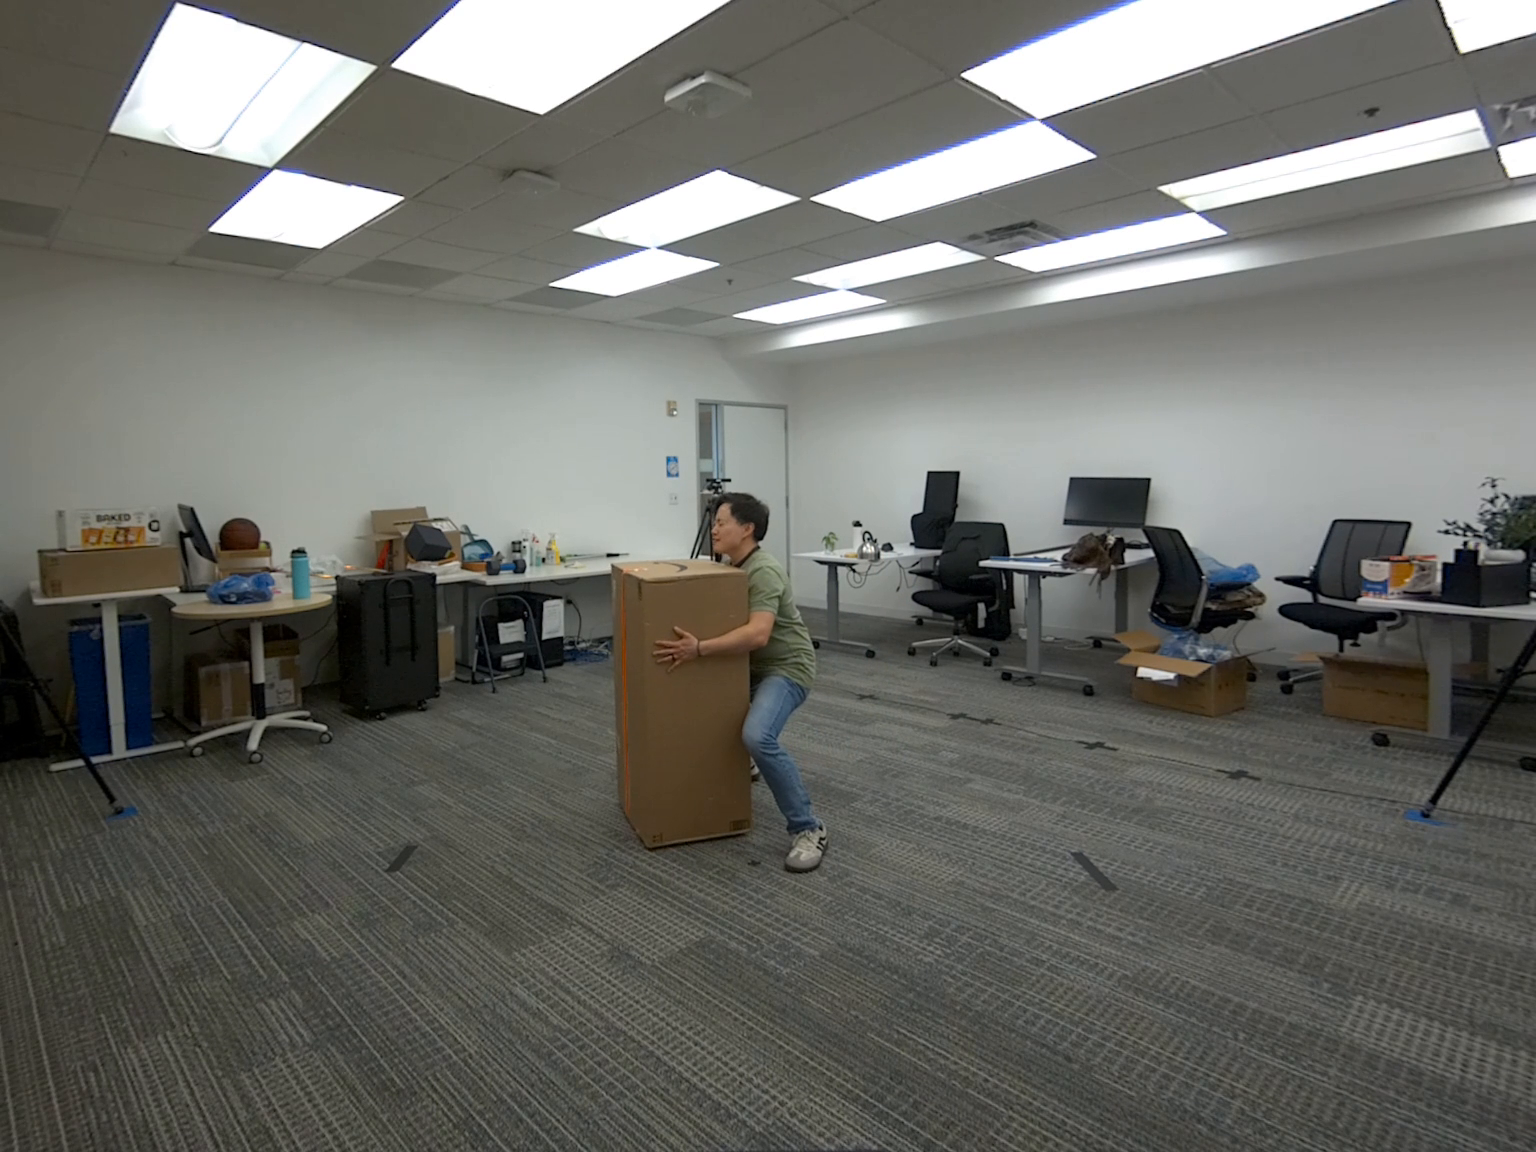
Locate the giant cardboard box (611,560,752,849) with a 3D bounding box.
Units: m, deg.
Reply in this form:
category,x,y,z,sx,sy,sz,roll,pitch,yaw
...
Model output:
category,x,y,z,sx,sy,sz,roll,pitch,yaw
giant cardboard box,-0.374,0.472,3.501,0.419,1.022,0.590,-2,5,-20
